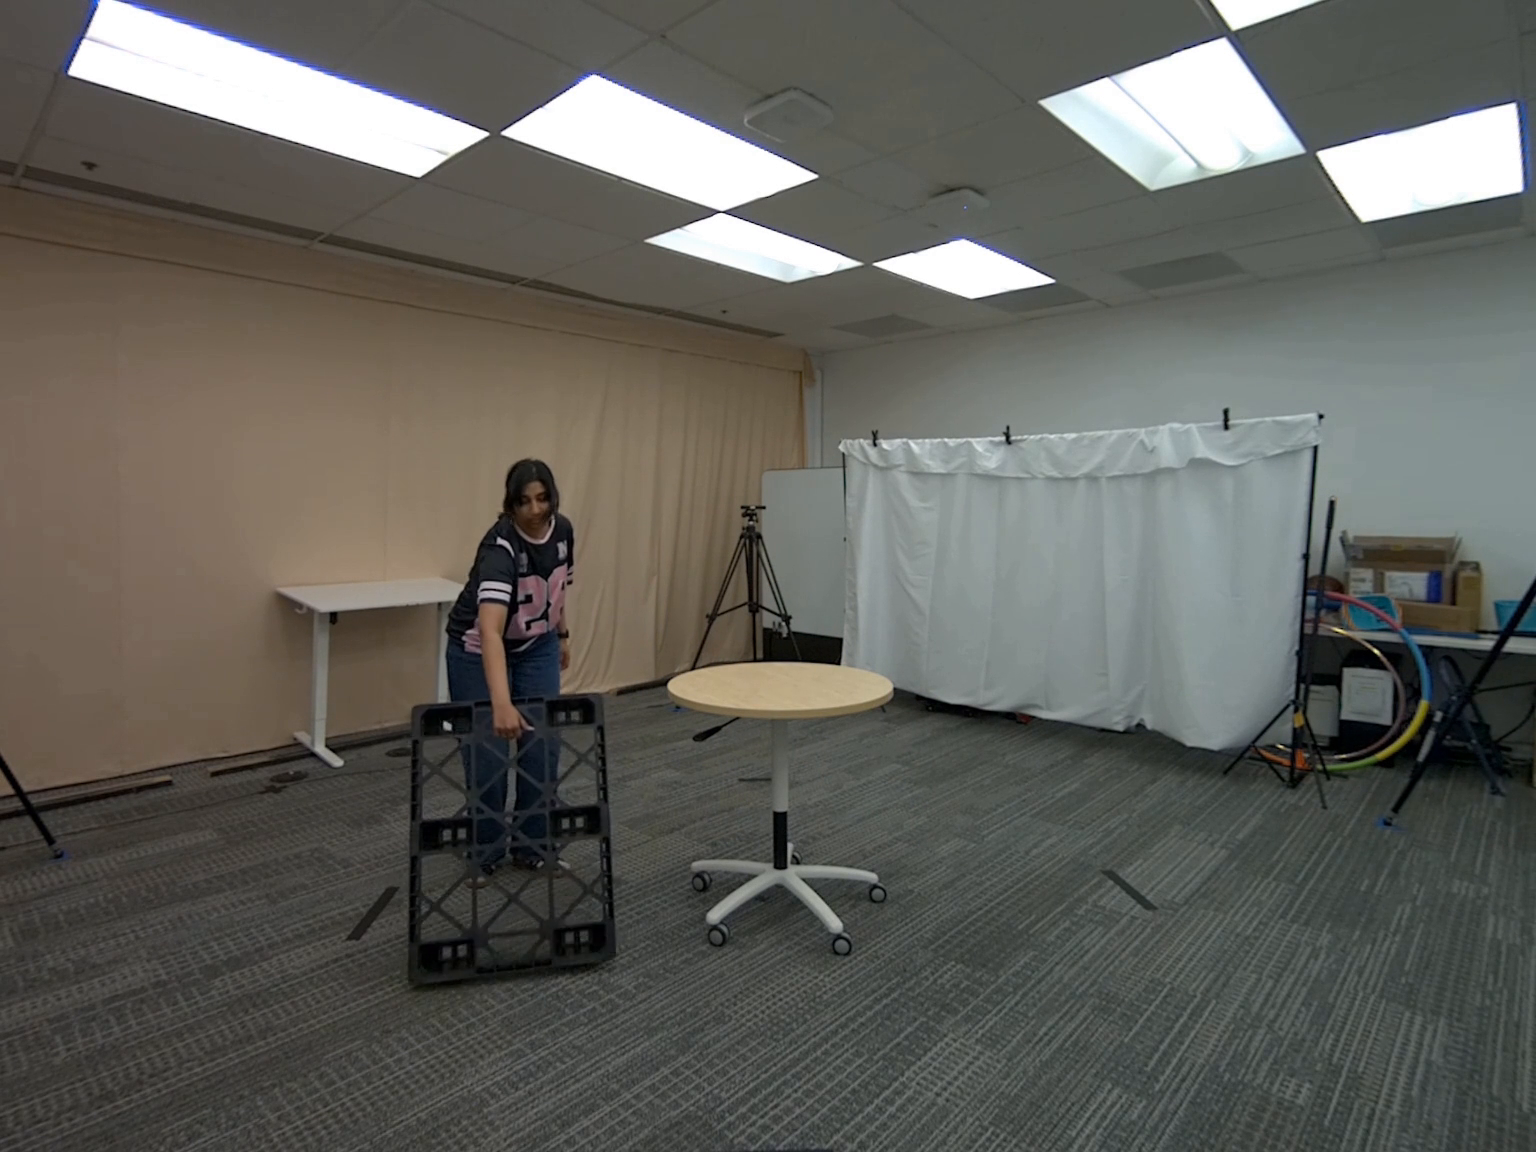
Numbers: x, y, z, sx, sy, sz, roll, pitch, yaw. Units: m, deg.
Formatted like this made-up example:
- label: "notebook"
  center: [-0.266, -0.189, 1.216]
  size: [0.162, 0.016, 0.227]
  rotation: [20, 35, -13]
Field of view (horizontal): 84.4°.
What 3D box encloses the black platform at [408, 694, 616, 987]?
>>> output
- label: "black platform"
  center: [-0.797, 0.793, 2.640]
  size: [0.598, 0.815, 0.143]
  rotation: [-3, -16, -12]
